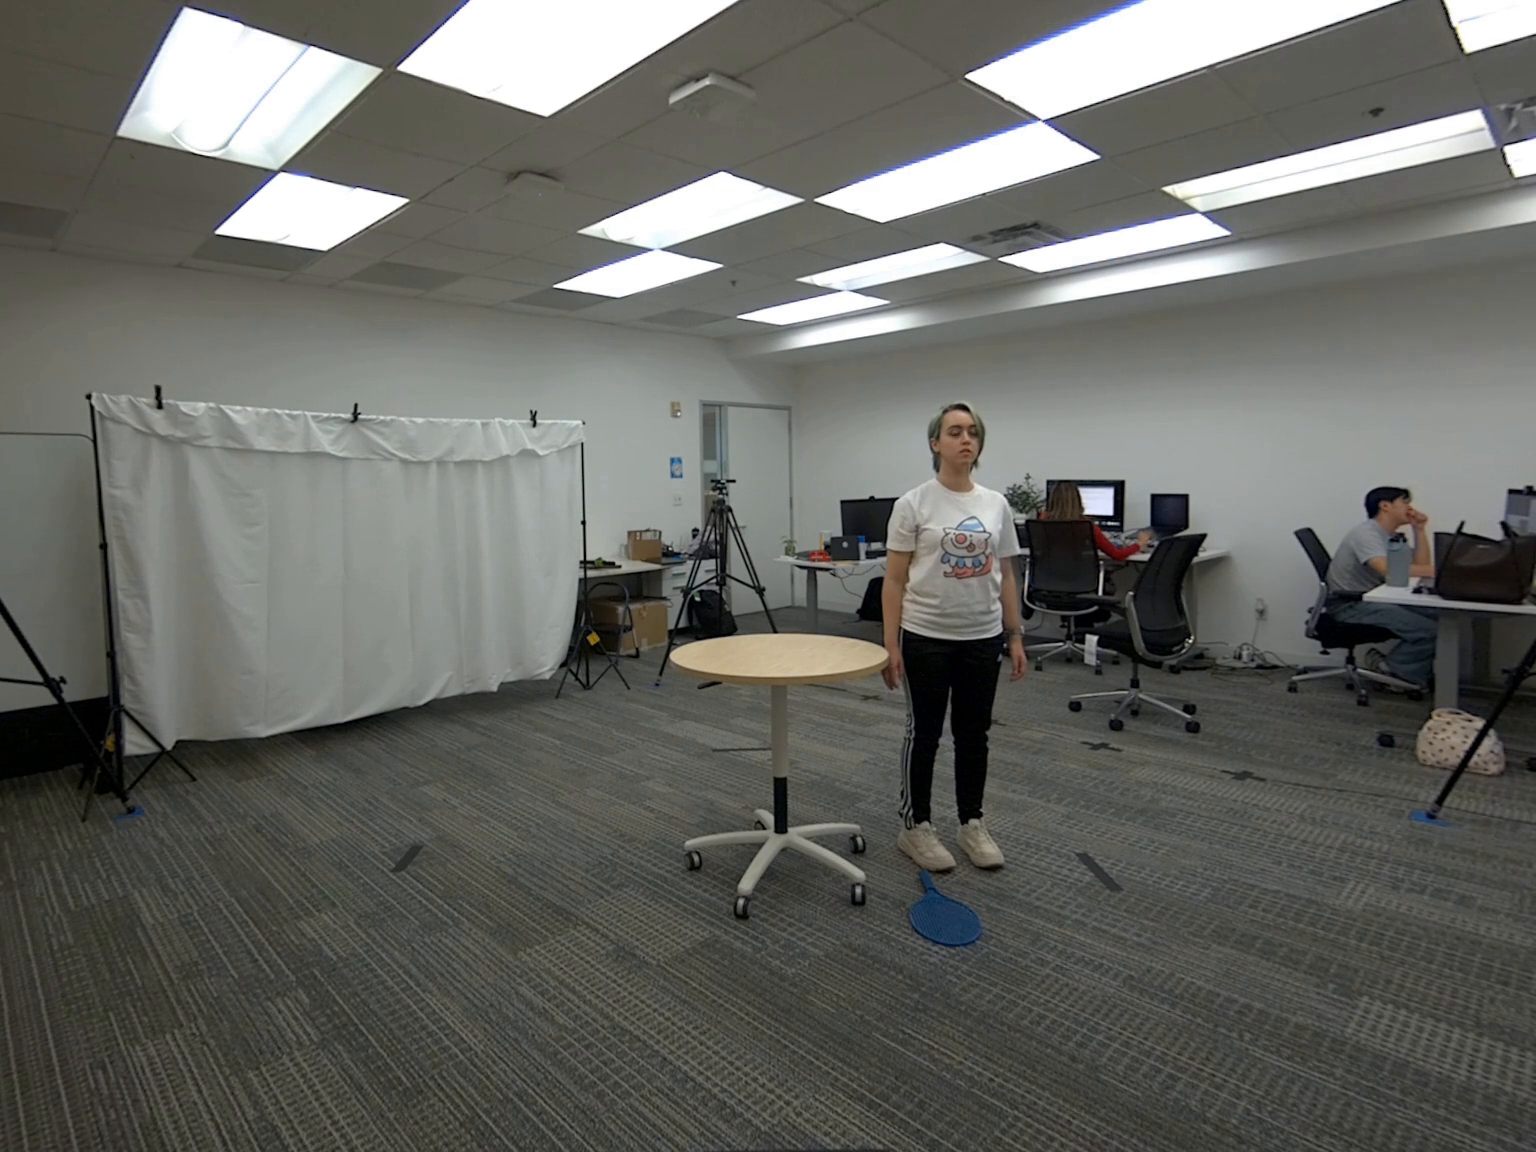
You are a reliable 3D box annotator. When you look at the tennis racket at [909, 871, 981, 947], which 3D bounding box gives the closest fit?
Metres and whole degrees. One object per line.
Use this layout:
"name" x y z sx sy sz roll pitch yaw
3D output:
"tennis racket" 0.548 1.062 2.752 0.214 0.031 0.435 -2 8 0
